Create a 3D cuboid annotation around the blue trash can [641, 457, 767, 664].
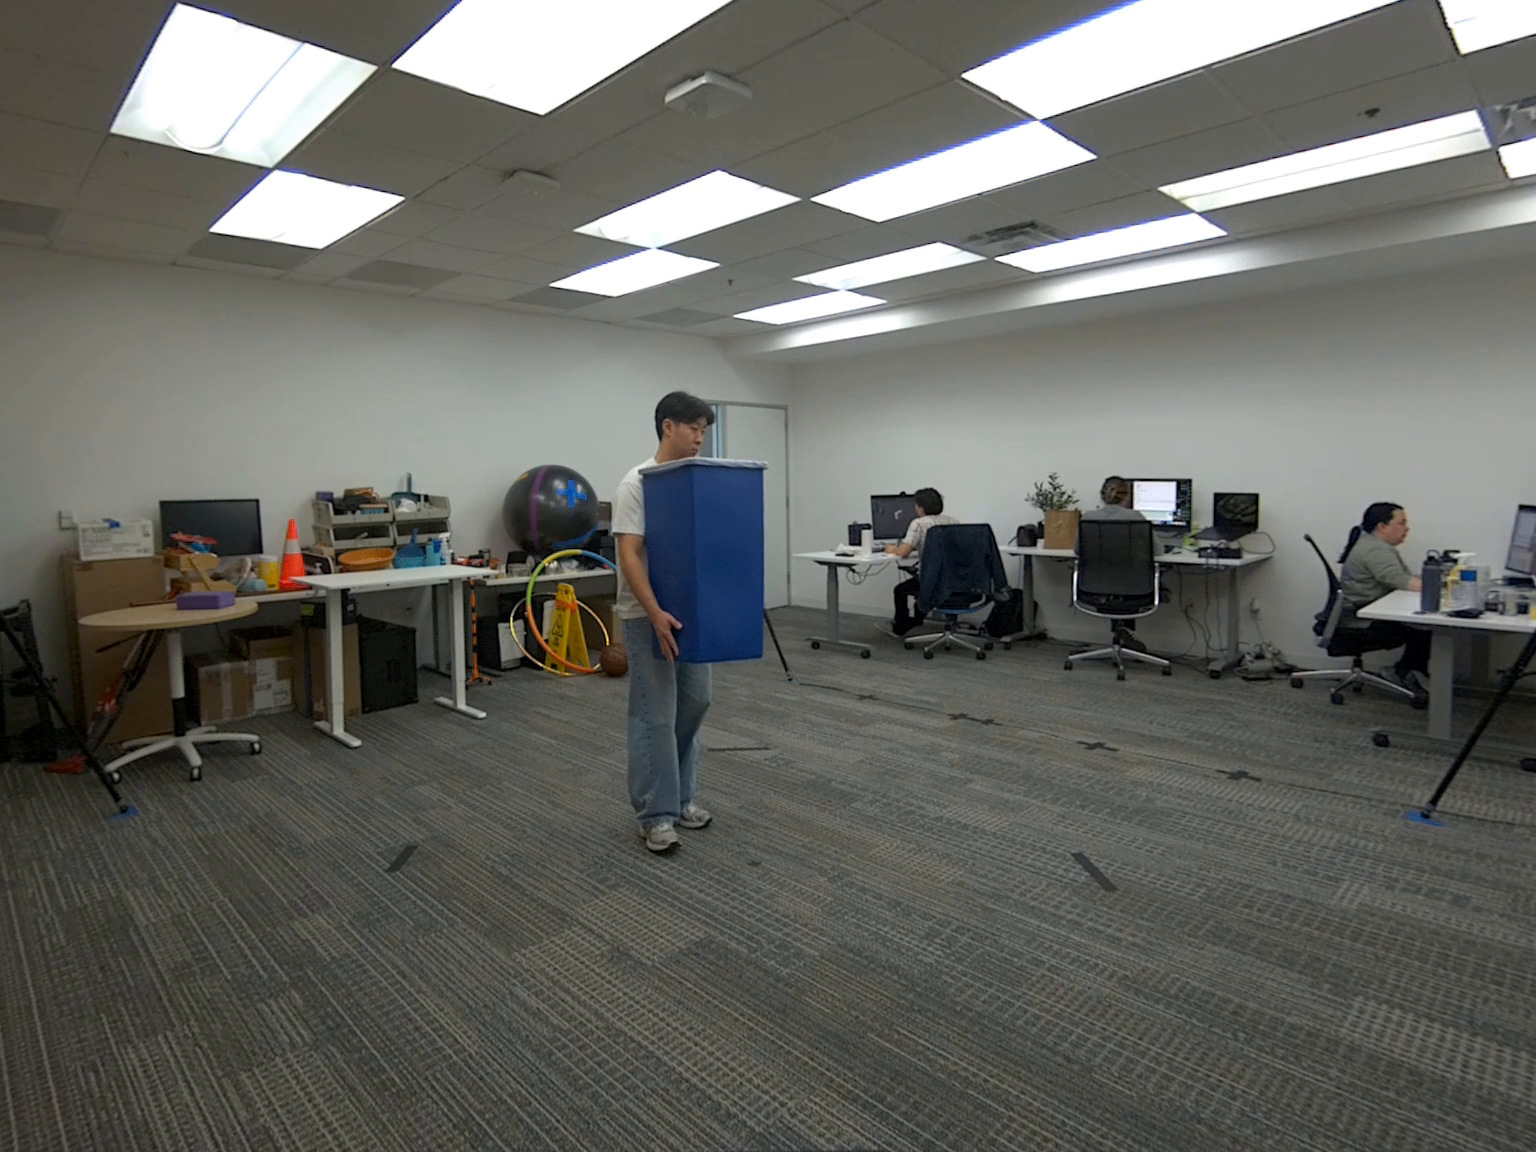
[{"bbox_3d":[-0.226,-0.051,3.148,0.363,0.716,0.388,1,-4,-37],"label":"blue trash can"}]
